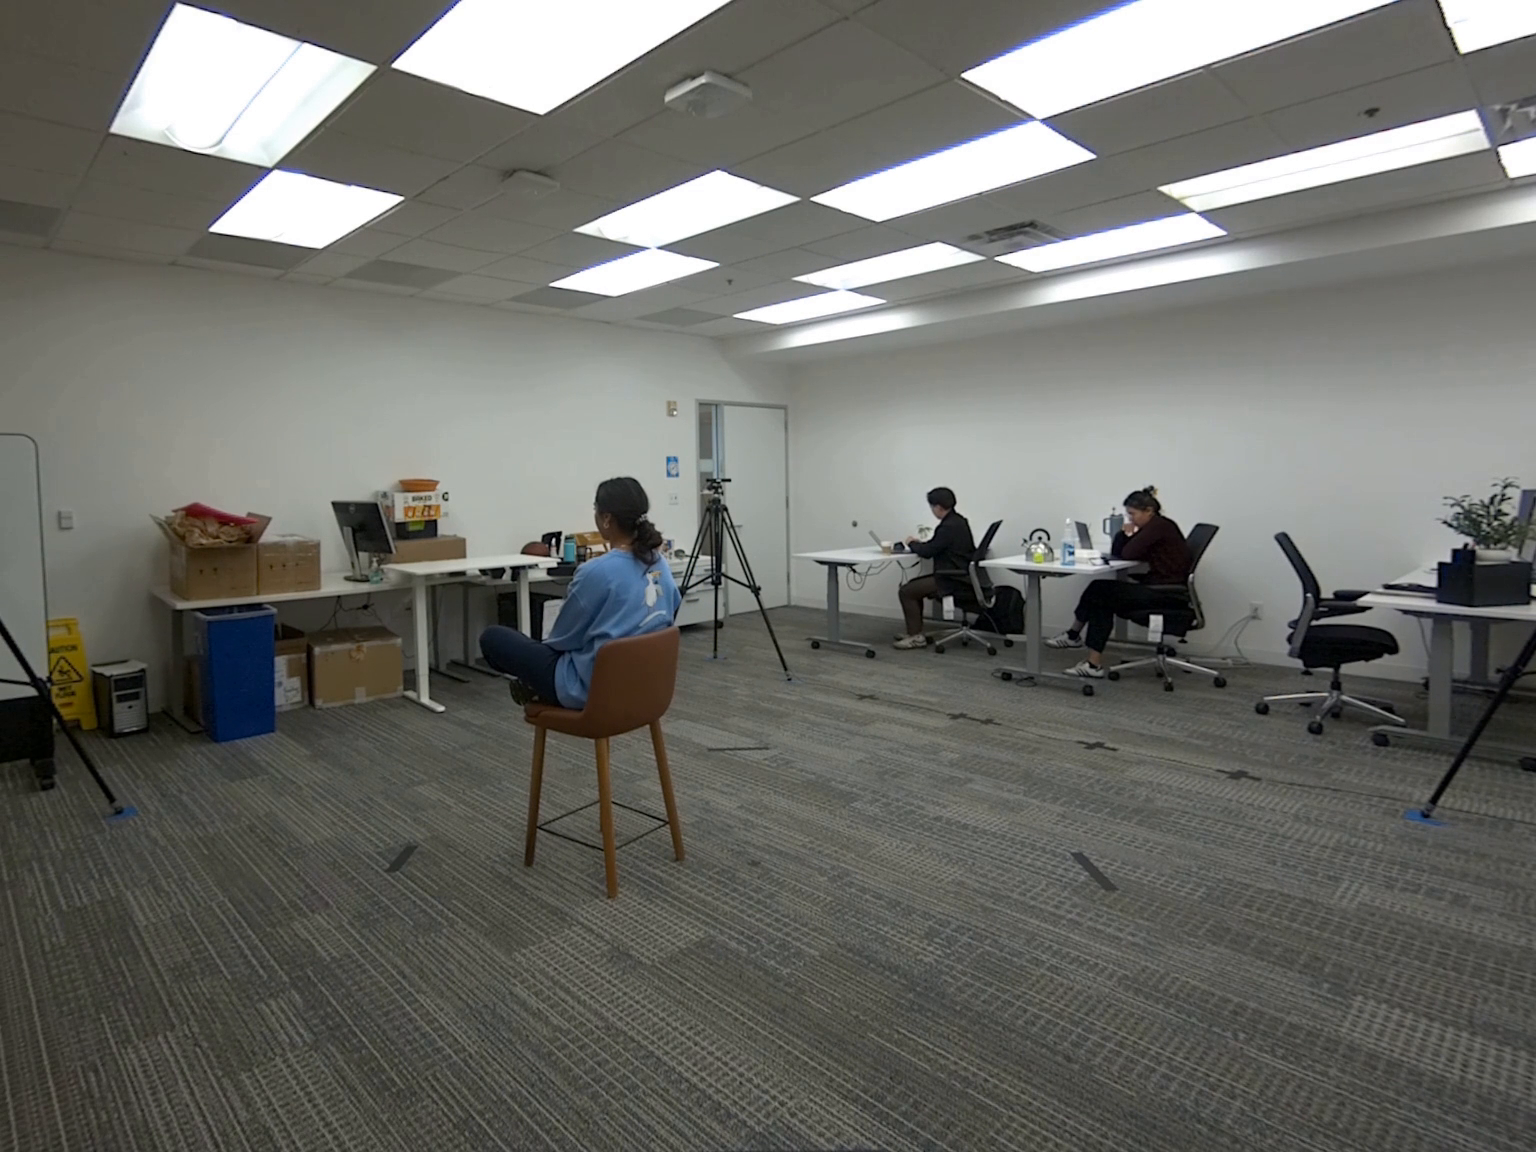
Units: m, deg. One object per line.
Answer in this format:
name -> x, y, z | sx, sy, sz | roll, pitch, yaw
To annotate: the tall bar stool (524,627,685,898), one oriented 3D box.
tall bar stool -> -0.594, 0.619, 3.111 | 0.482, 0.885, 0.445 | 5, 7, 37
